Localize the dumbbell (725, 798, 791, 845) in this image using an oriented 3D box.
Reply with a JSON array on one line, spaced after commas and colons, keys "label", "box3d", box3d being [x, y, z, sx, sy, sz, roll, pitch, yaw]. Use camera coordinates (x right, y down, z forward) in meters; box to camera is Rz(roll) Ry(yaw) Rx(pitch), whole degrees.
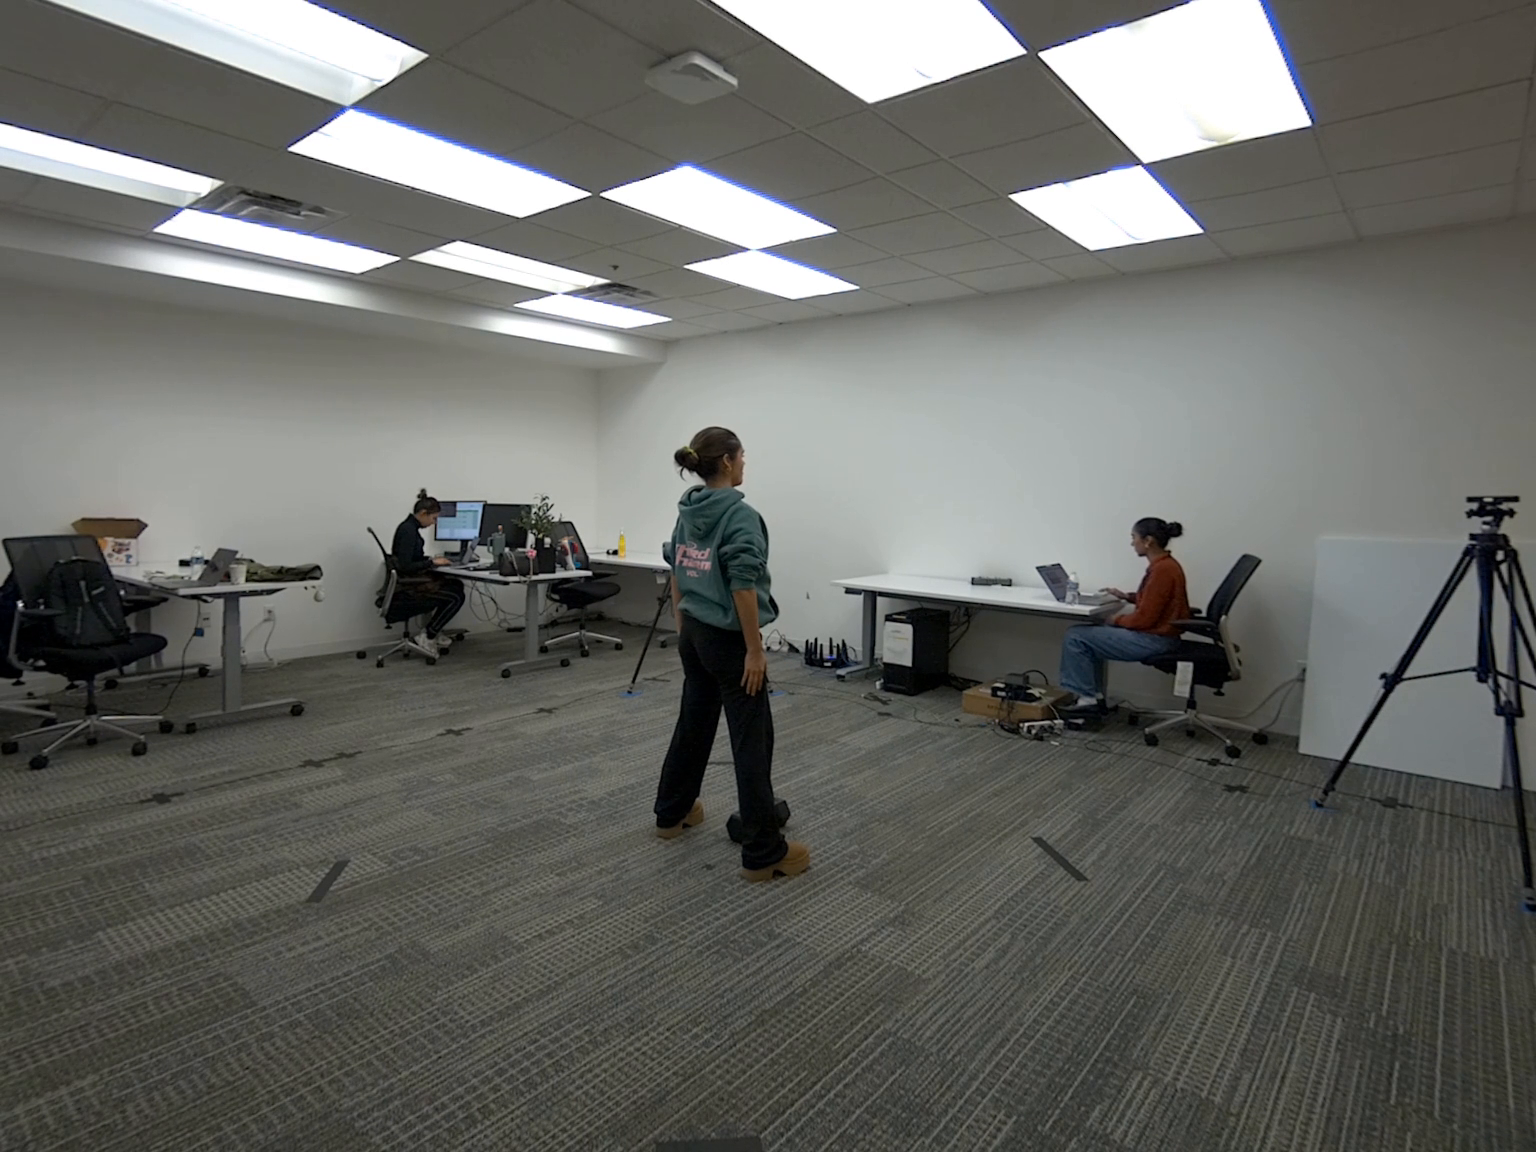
[{"label": "dumbbell", "box3d": [-0.045, 0.978, 3.435, 0.127, 0.108, 0.285, 2, 5, 39]}]
